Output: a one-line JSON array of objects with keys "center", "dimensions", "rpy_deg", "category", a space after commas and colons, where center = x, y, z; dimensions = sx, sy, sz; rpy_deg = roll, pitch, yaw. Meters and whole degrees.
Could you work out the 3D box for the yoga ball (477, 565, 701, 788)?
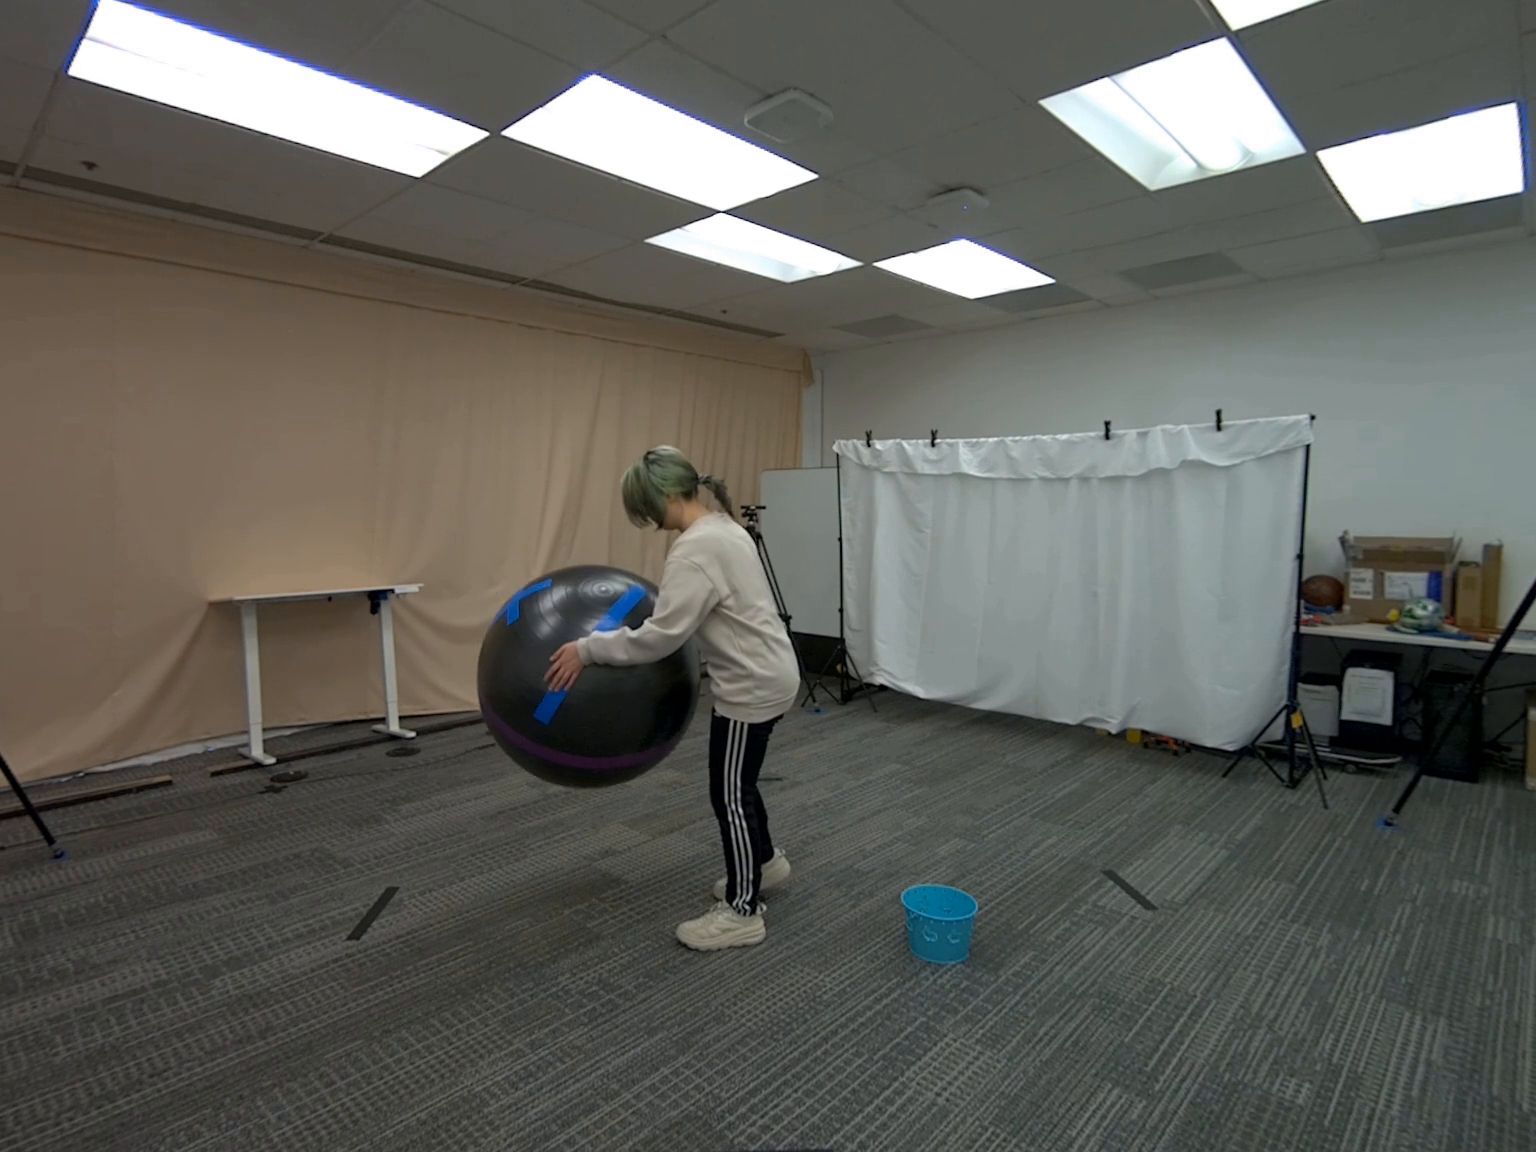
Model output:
[{"center": [-0.608, 0.351, 2.890], "dimensions": [0.757, 0.756, 0.760], "rpy_deg": [0, 4, -2], "category": "yoga ball"}]
